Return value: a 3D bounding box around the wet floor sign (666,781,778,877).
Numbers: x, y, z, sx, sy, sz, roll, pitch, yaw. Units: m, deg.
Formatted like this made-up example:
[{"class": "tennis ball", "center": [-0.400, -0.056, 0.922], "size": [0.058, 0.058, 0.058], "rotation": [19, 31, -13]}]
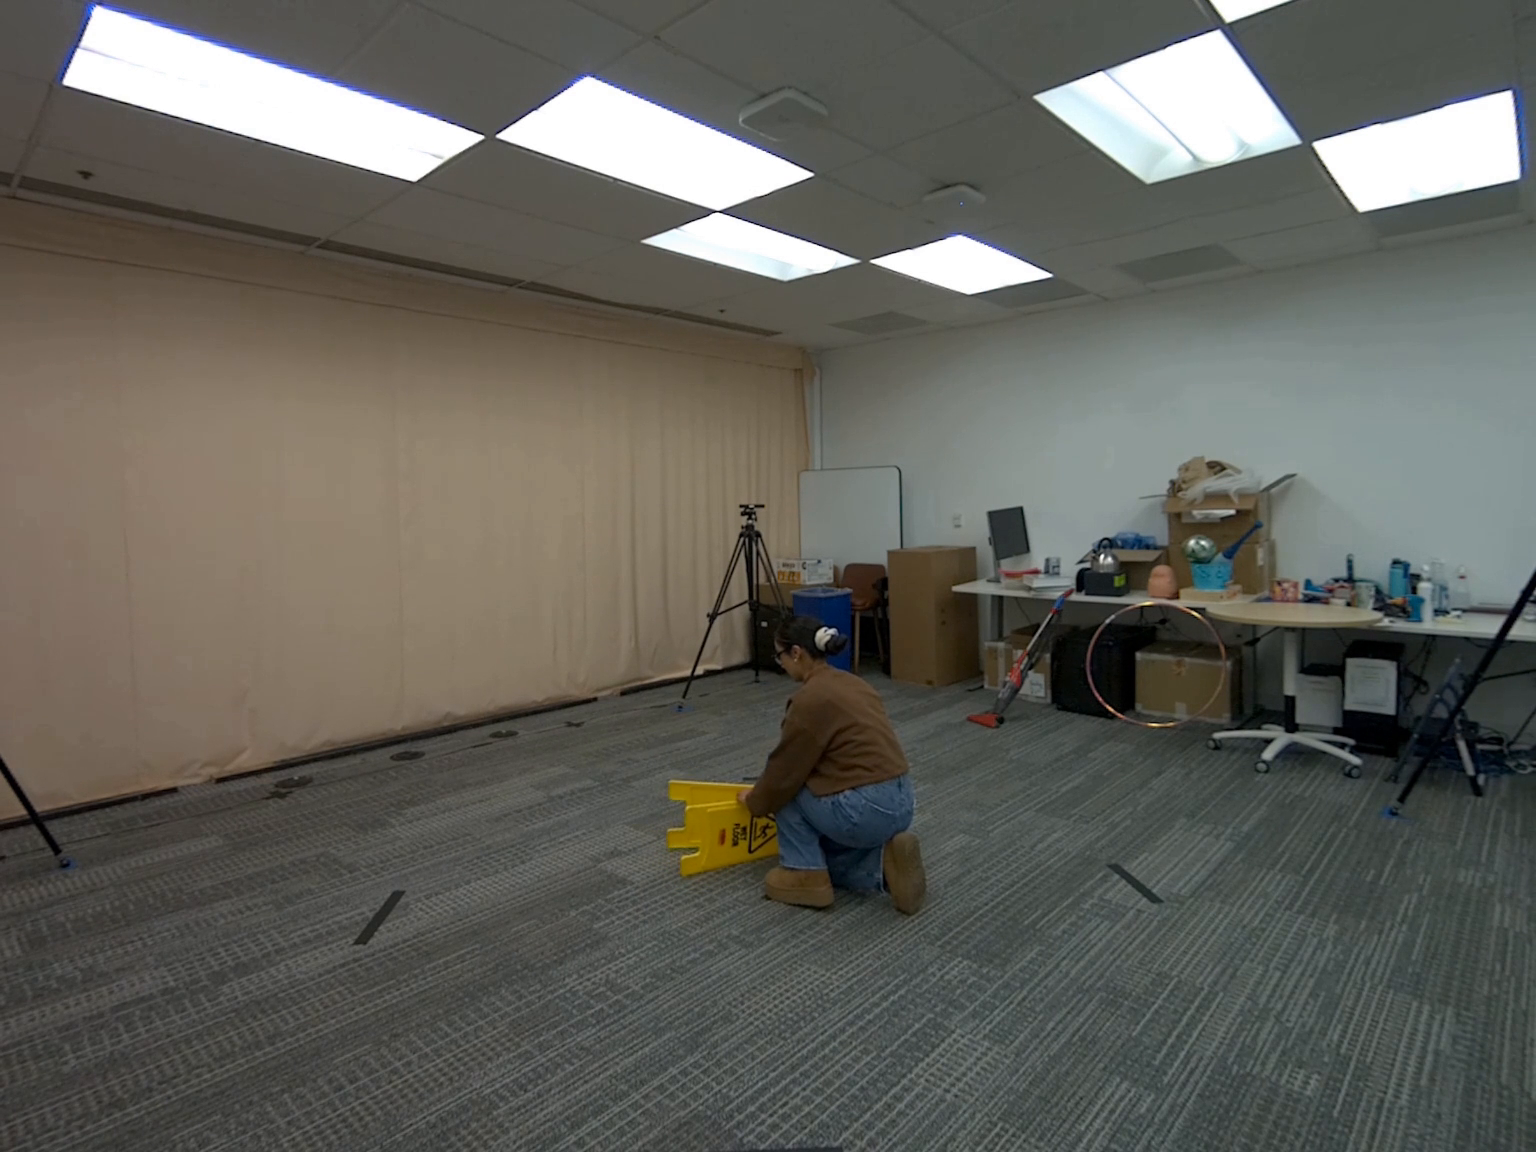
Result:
[{"class": "wet floor sign", "center": [-0.058, 0.978, 3.359], "size": [0.635, 0.281, 0.296], "rotation": [1, 8, -16]}]
